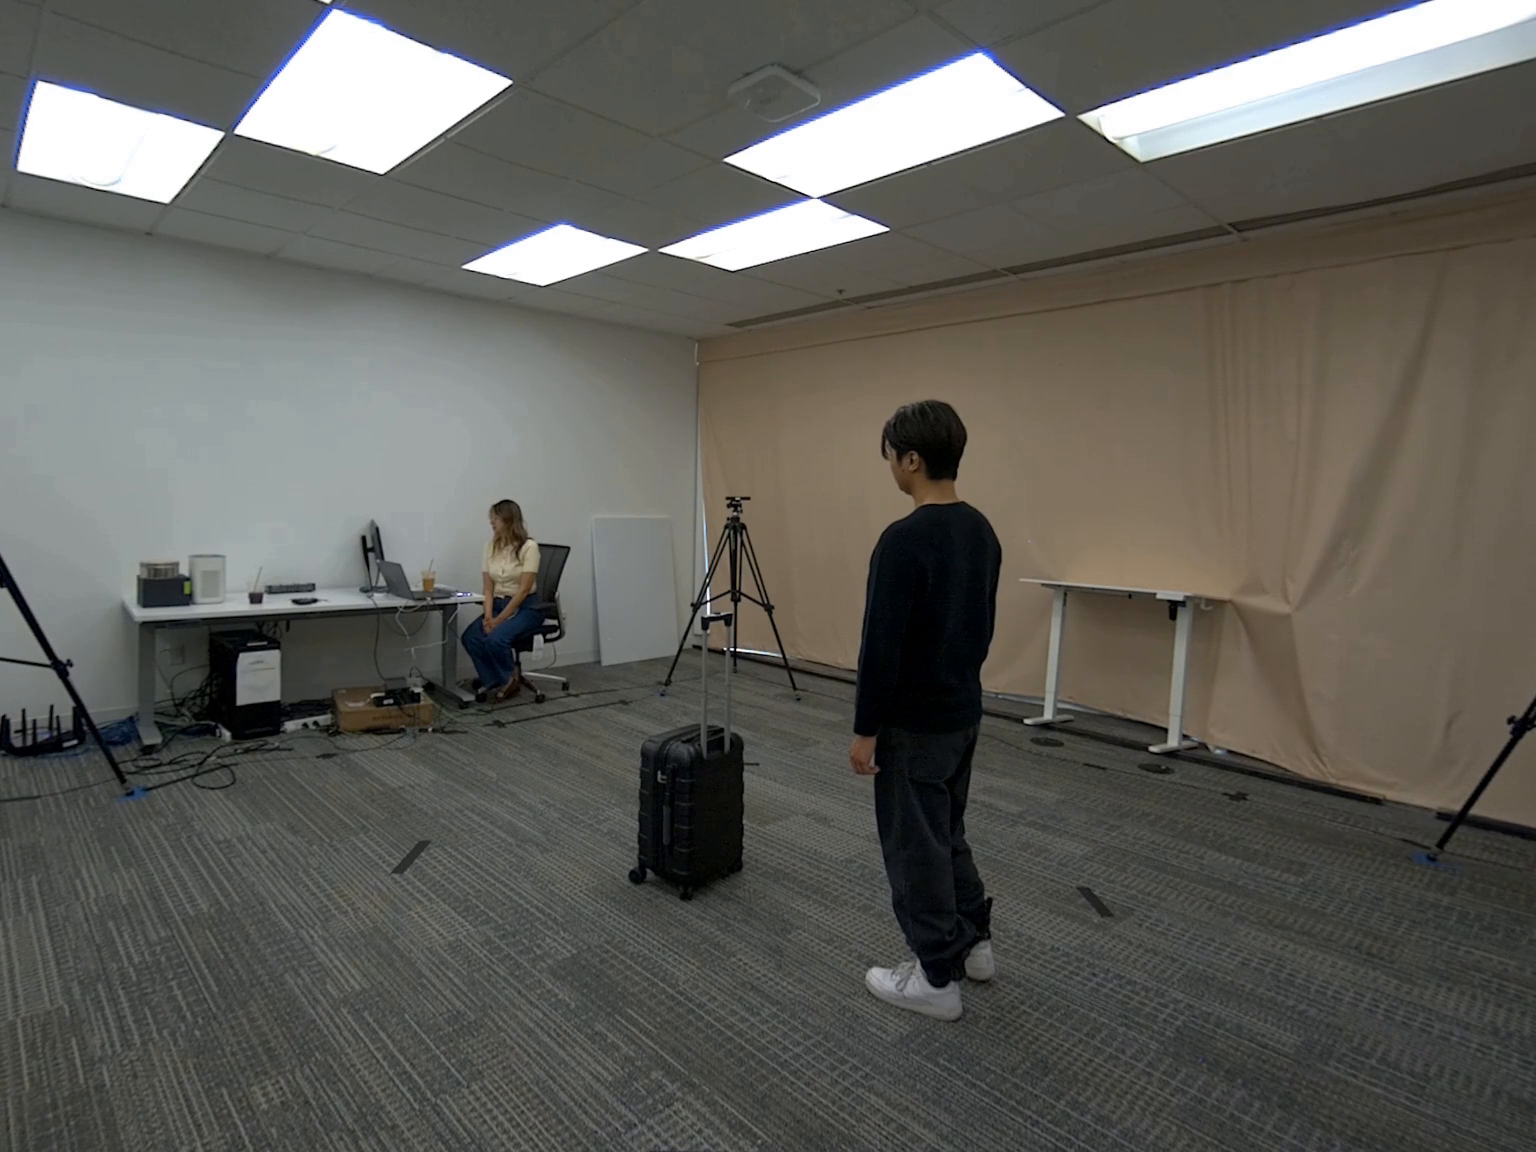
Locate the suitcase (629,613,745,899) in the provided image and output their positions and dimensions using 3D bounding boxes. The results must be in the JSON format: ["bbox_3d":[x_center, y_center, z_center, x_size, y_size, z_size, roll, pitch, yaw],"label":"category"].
[{"bbox_3d":[-0.286,0.629,3.058,0.263,0.977,0.375,2,2,37],"label":"suitcase"}]
